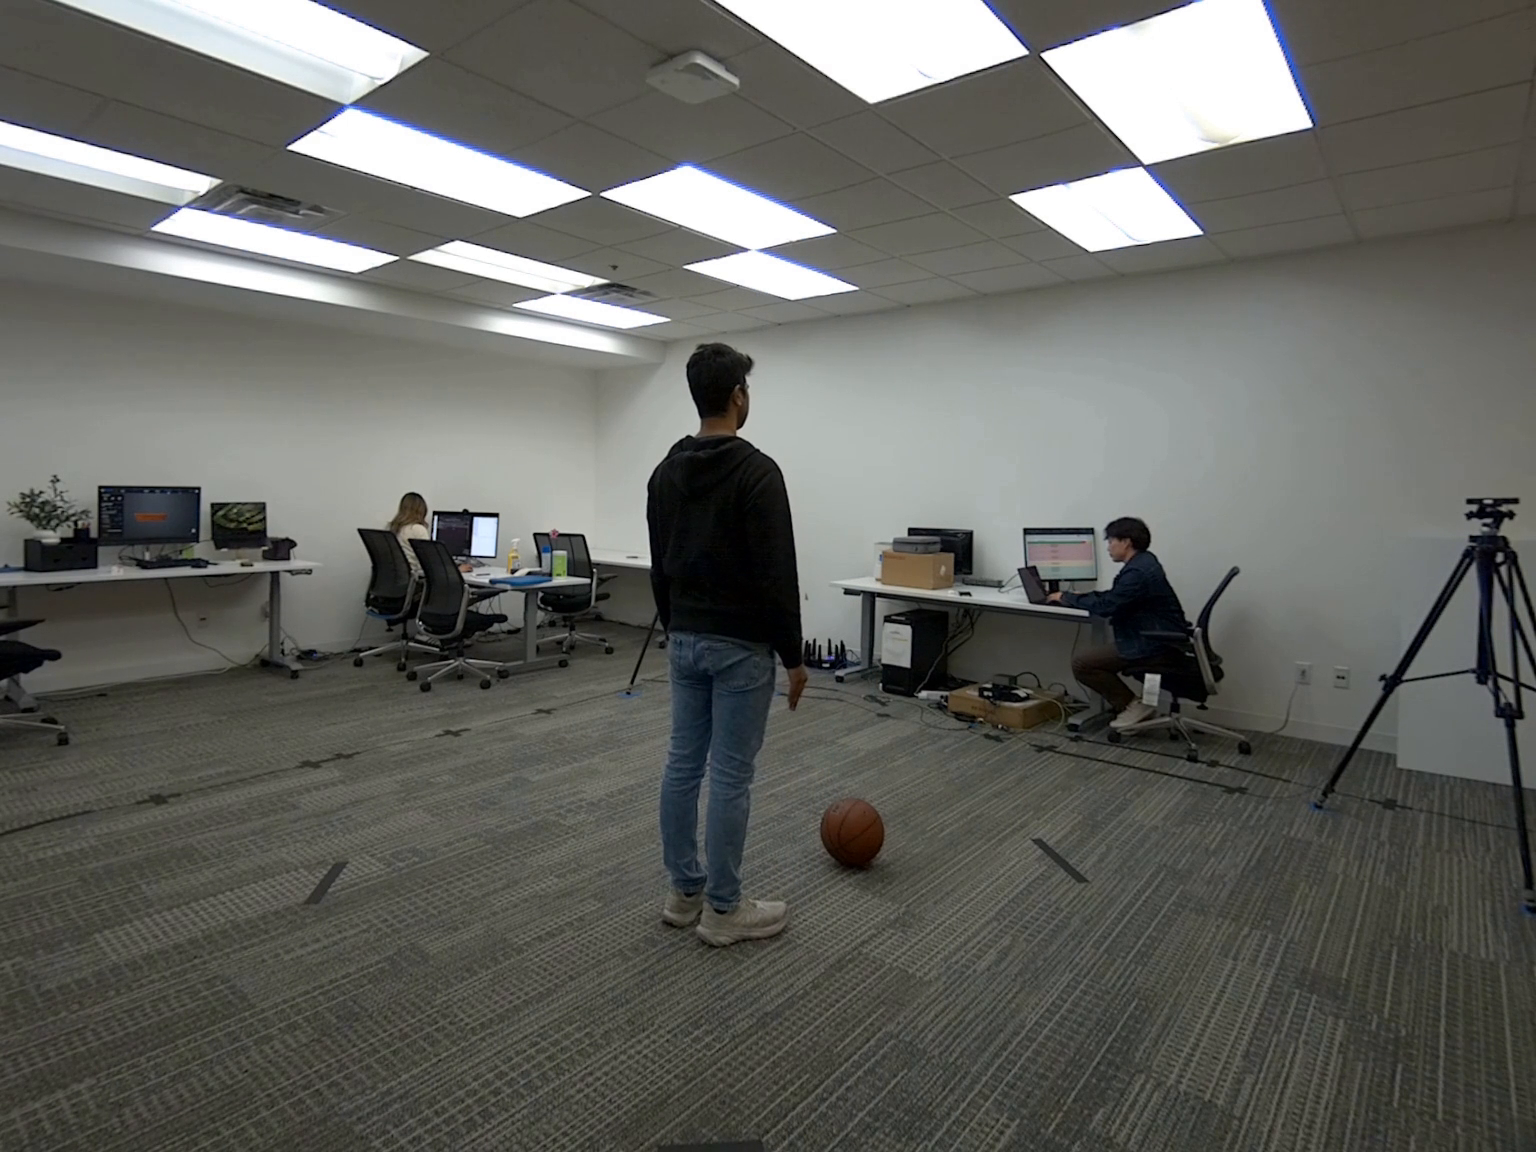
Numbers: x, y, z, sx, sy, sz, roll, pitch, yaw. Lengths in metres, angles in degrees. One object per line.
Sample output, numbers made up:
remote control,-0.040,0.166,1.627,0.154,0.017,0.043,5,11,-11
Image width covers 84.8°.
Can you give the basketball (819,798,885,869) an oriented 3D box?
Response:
basketball,0.308,0.951,3.183,0.235,0.235,0.237,1,4,-2
